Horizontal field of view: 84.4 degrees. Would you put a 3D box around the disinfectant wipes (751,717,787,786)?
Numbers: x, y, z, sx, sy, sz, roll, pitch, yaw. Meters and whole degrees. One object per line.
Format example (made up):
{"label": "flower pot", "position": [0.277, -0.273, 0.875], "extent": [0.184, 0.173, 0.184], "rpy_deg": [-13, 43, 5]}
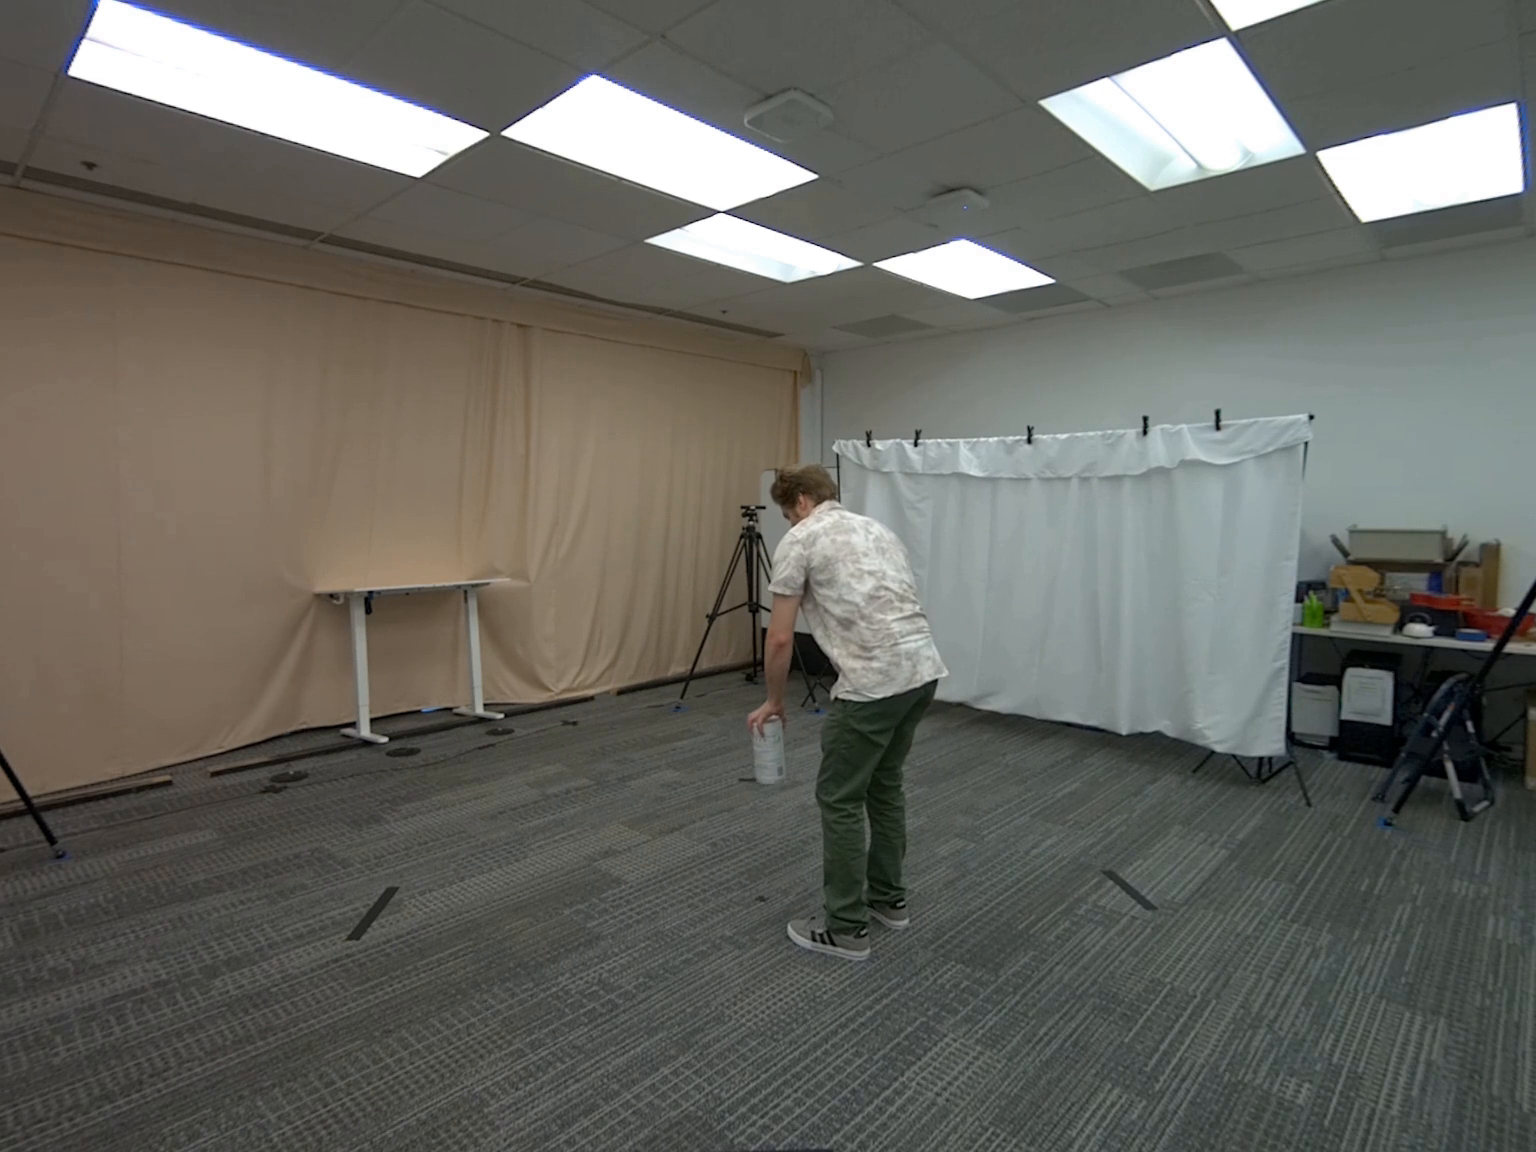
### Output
{"label": "disinfectant wipes", "position": [0.010, 0.602, 2.907], "extent": [0.118, 0.217, 0.118], "rpy_deg": [-5, 5, -1]}
